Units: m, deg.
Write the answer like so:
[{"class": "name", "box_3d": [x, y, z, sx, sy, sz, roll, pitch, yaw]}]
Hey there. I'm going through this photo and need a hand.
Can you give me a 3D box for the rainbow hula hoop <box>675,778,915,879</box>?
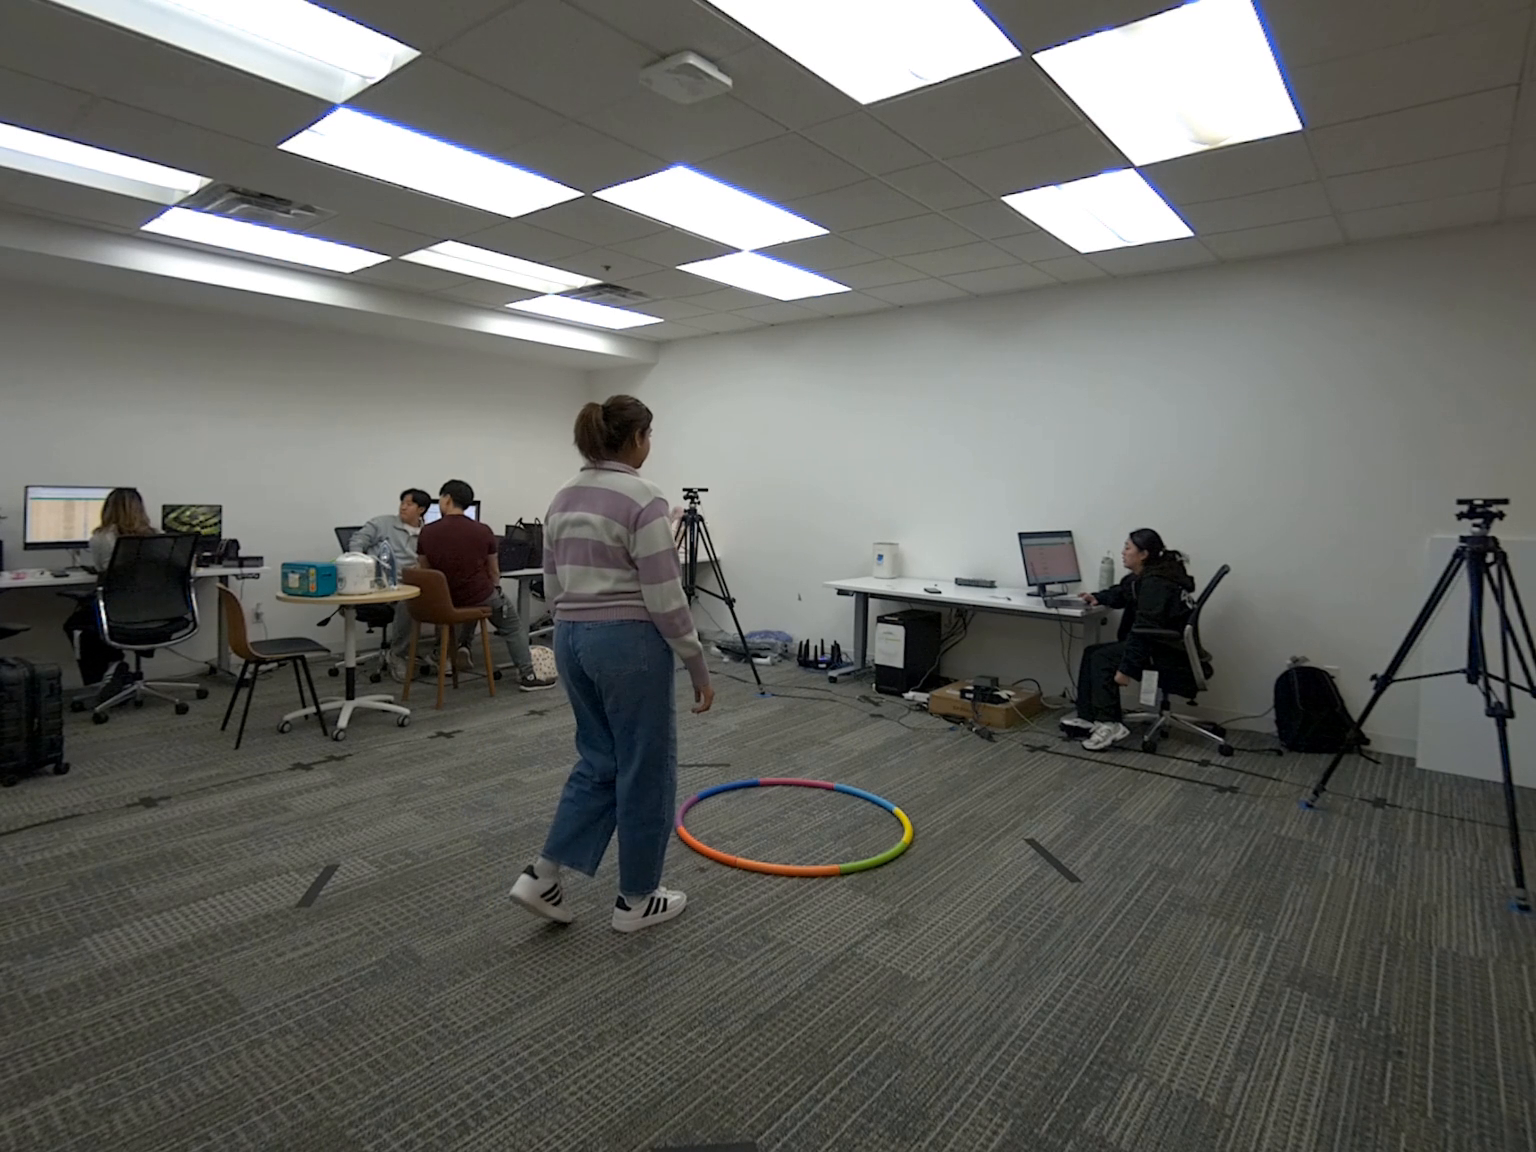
[{"class": "rainbow hula hoop", "box_3d": [0.094, 1.005, 3.547, 0.978, 0.035, 0.984, 1, 6, -2]}]
